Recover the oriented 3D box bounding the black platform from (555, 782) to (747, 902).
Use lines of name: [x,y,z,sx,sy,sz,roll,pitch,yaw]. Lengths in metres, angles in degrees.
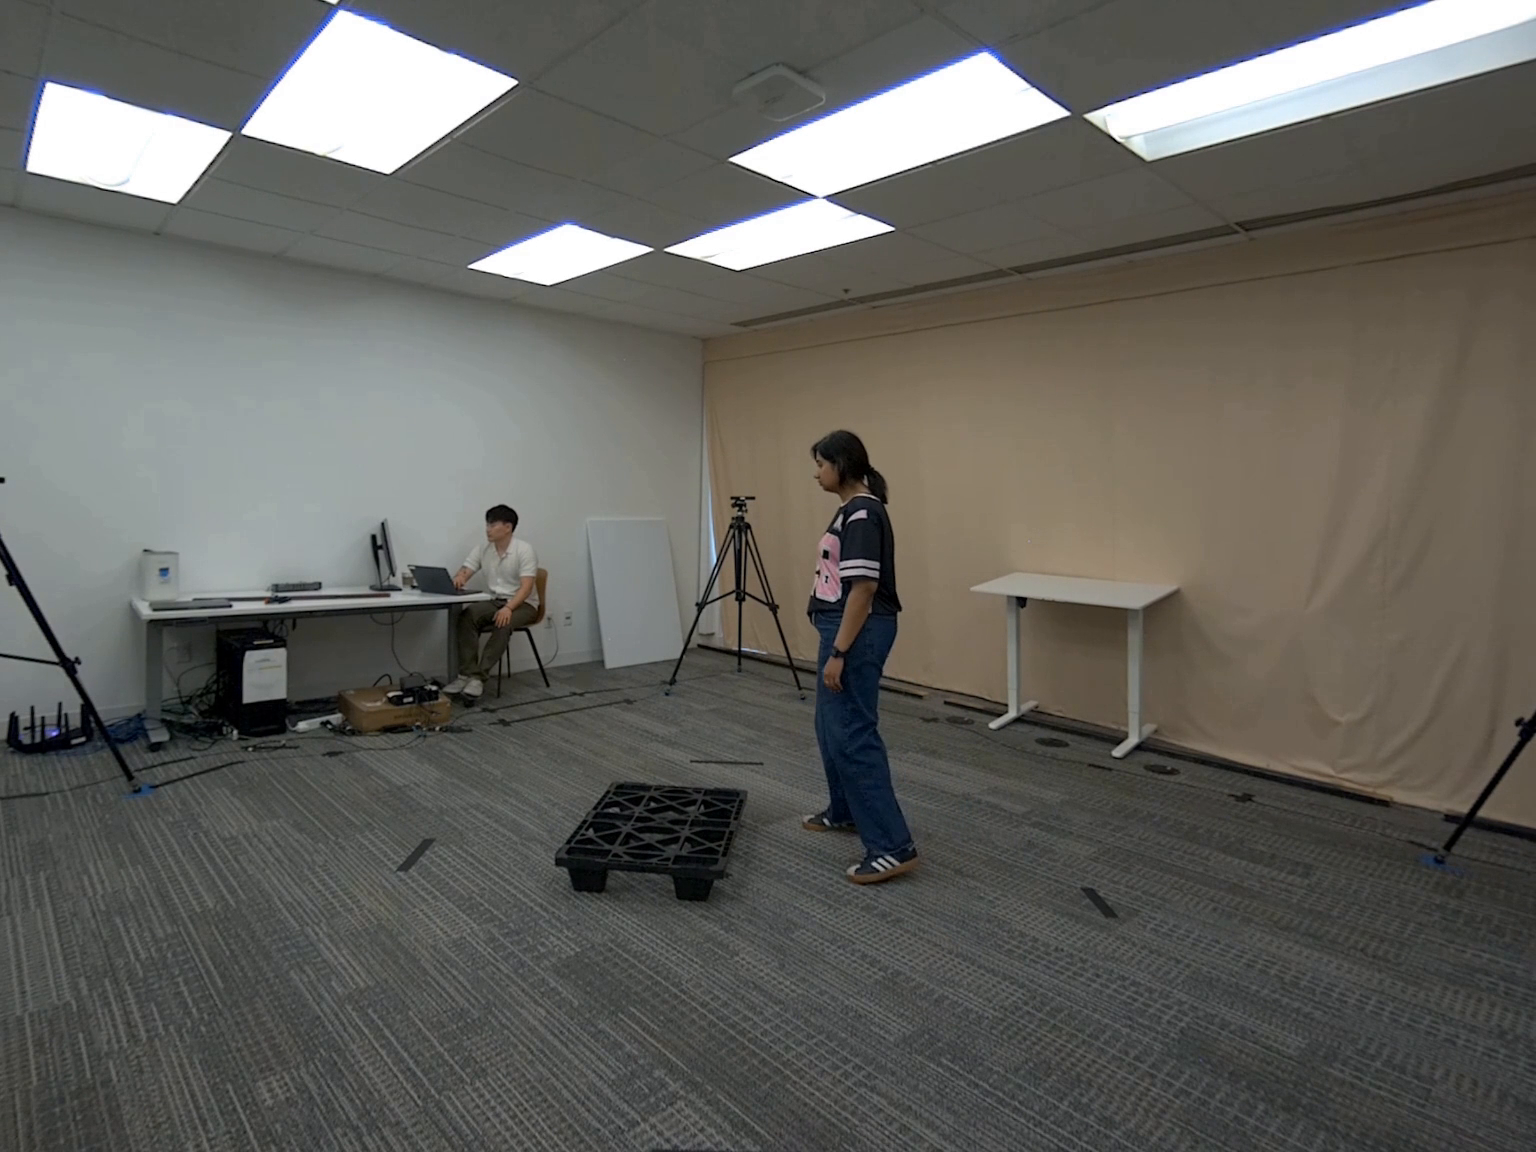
black platform: [-0.419,1.014,3.278,0.608,0.143,0.804,2,5,5]
